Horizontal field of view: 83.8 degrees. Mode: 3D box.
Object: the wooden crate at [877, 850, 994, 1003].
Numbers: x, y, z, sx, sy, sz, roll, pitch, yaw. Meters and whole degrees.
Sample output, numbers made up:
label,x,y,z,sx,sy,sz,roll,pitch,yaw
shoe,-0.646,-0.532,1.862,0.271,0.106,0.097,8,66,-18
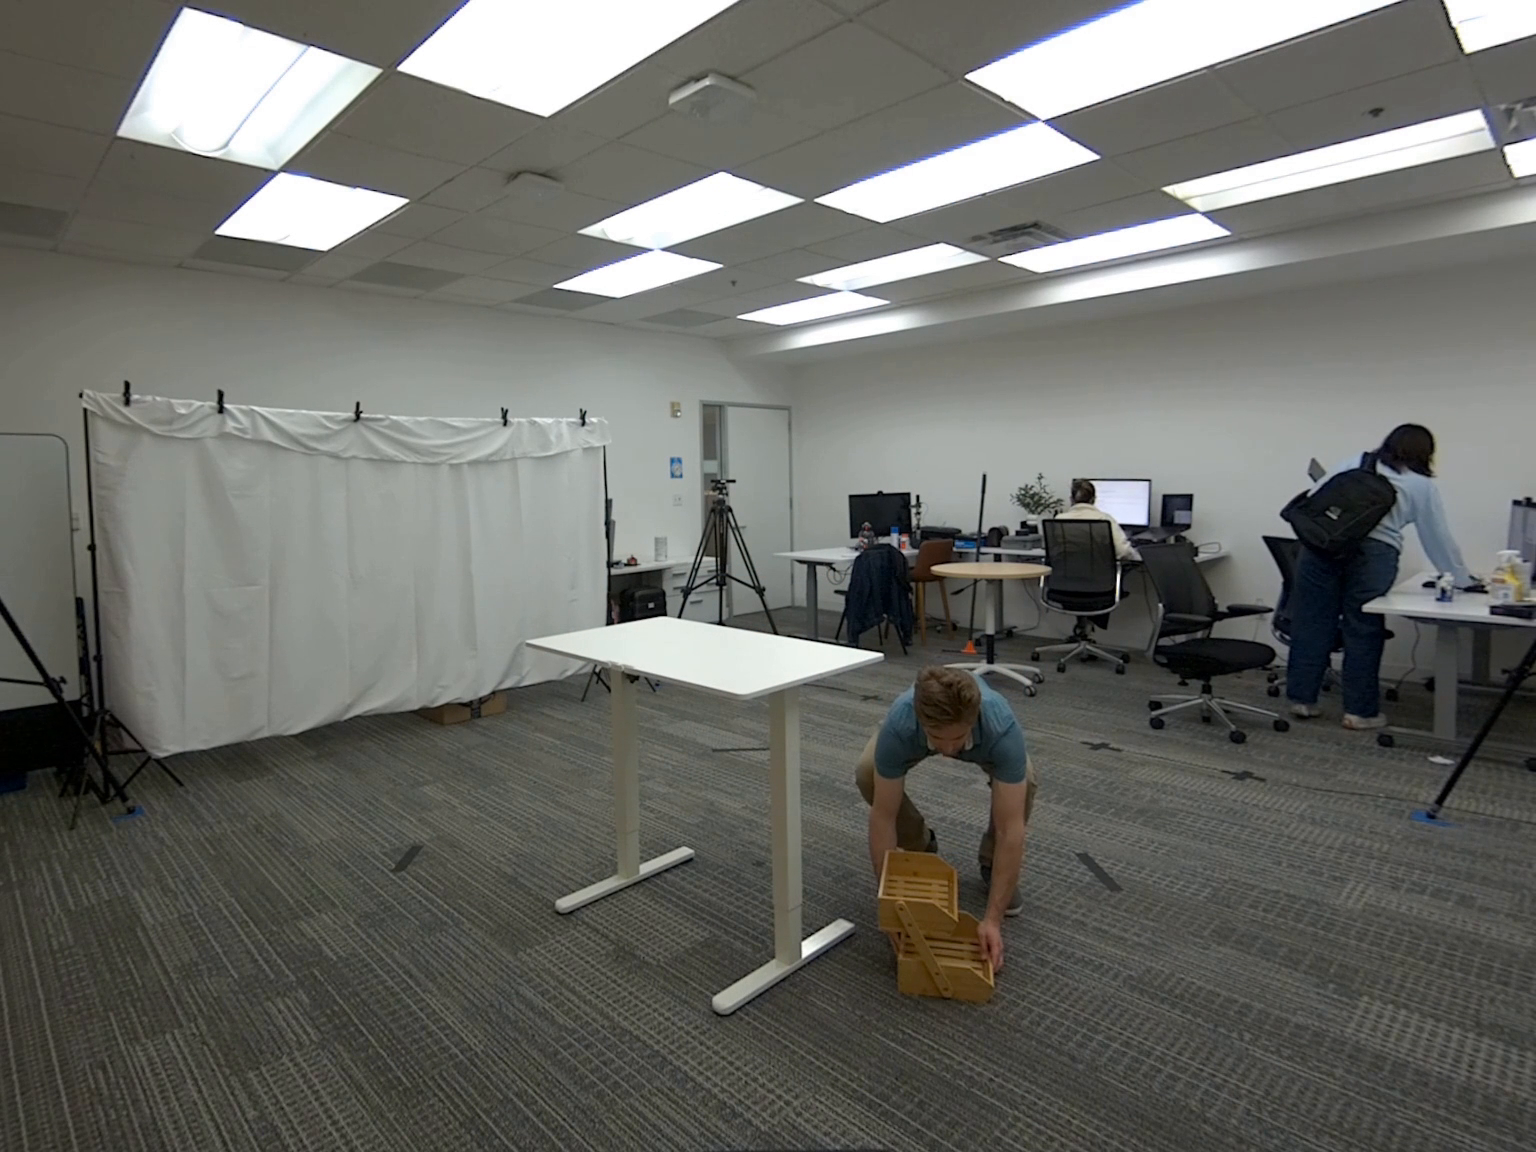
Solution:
label,x,y,z,sx,sy,sz,roll,pitch,yaw
wooden crate,0.496,0.986,2.430,0.306,0.272,0.322,-1,5,12
